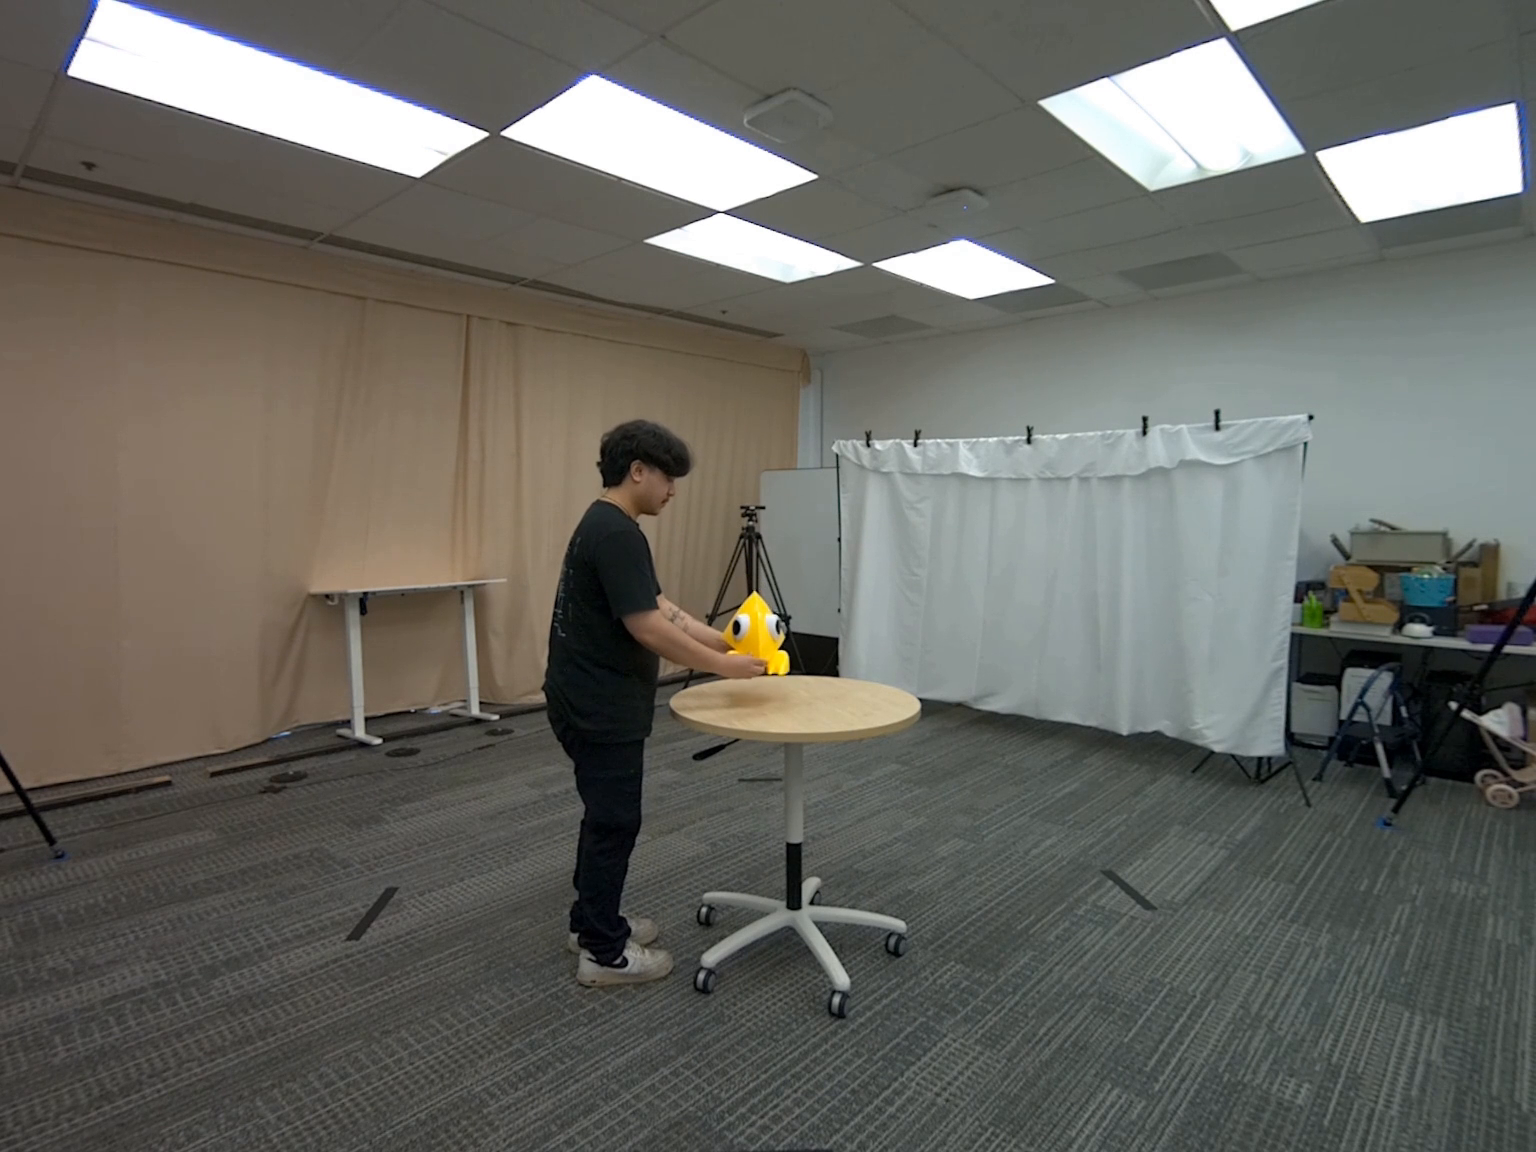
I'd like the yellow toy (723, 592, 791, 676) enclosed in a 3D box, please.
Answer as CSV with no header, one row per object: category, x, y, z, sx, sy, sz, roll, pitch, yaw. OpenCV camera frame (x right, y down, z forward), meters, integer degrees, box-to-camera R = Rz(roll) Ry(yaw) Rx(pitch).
yellow toy,-0.031,0.164,2.585,0.204,0.230,0.195,1,5,-6
